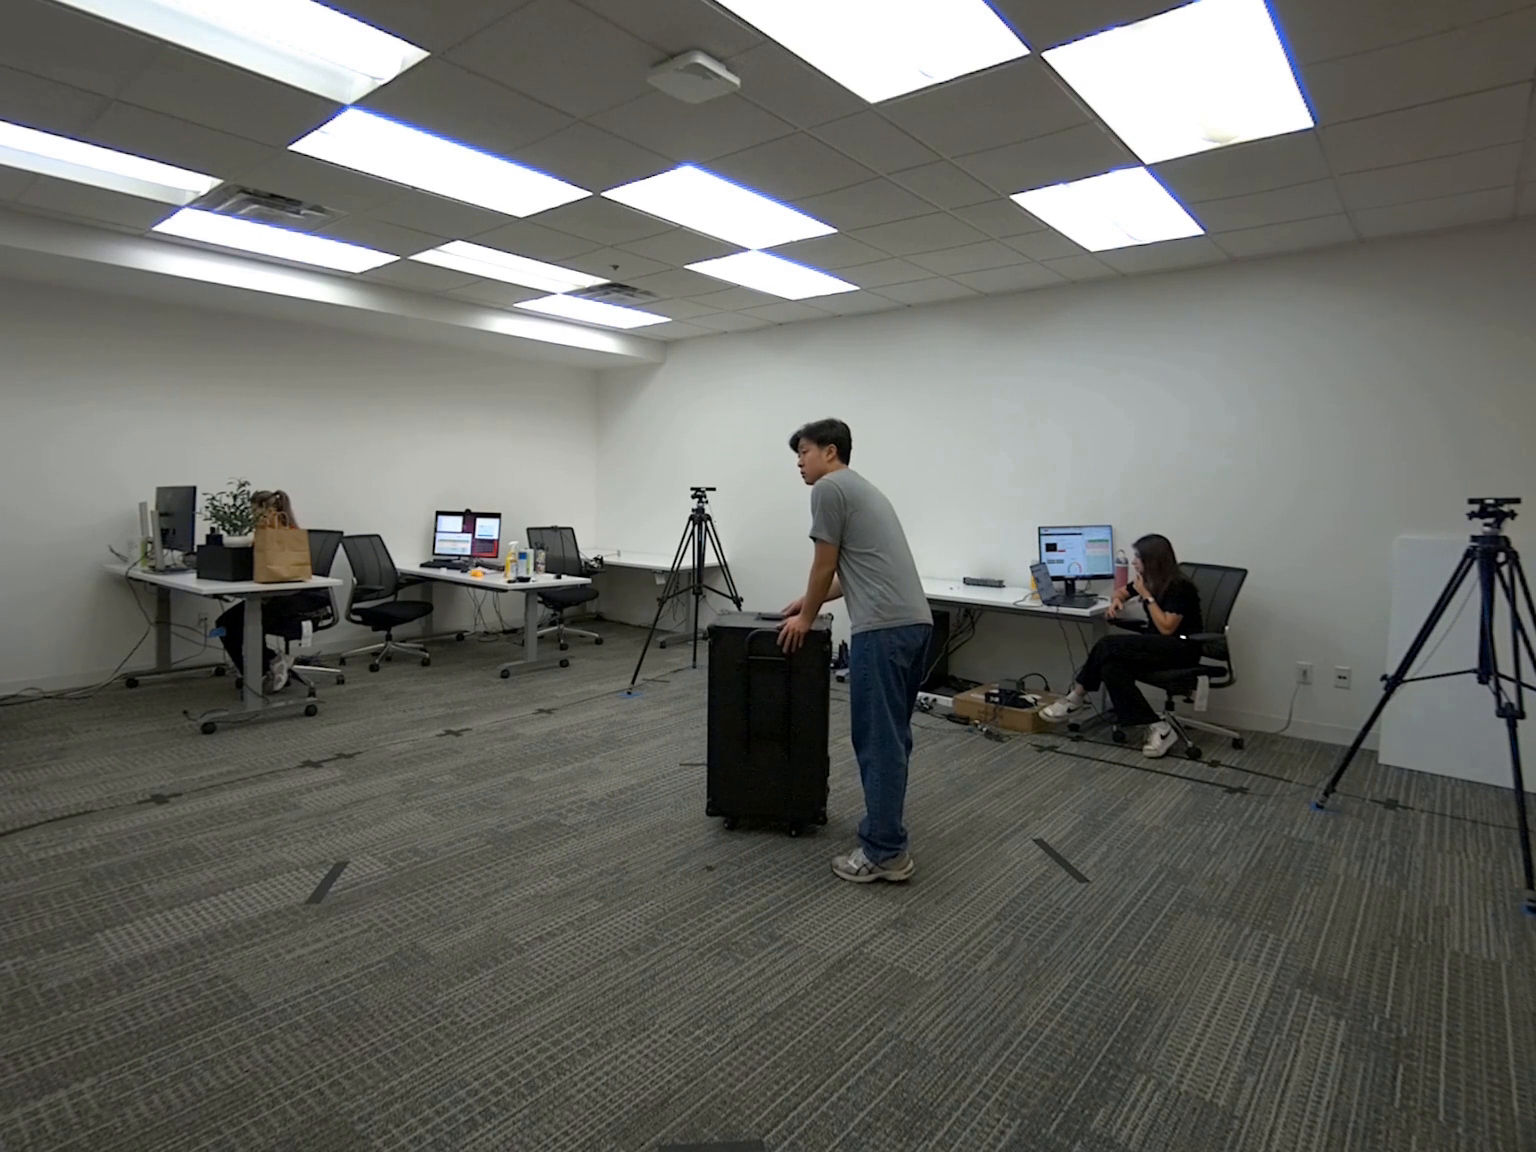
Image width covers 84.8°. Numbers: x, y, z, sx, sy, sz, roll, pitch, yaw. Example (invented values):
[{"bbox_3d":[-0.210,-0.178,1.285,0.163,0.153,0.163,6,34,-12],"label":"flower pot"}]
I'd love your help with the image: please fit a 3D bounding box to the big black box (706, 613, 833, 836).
[{"bbox_3d":[0.003,0.607,3.527,0.527,0.857,0.394,1,5,9],"label":"big black box"}]
